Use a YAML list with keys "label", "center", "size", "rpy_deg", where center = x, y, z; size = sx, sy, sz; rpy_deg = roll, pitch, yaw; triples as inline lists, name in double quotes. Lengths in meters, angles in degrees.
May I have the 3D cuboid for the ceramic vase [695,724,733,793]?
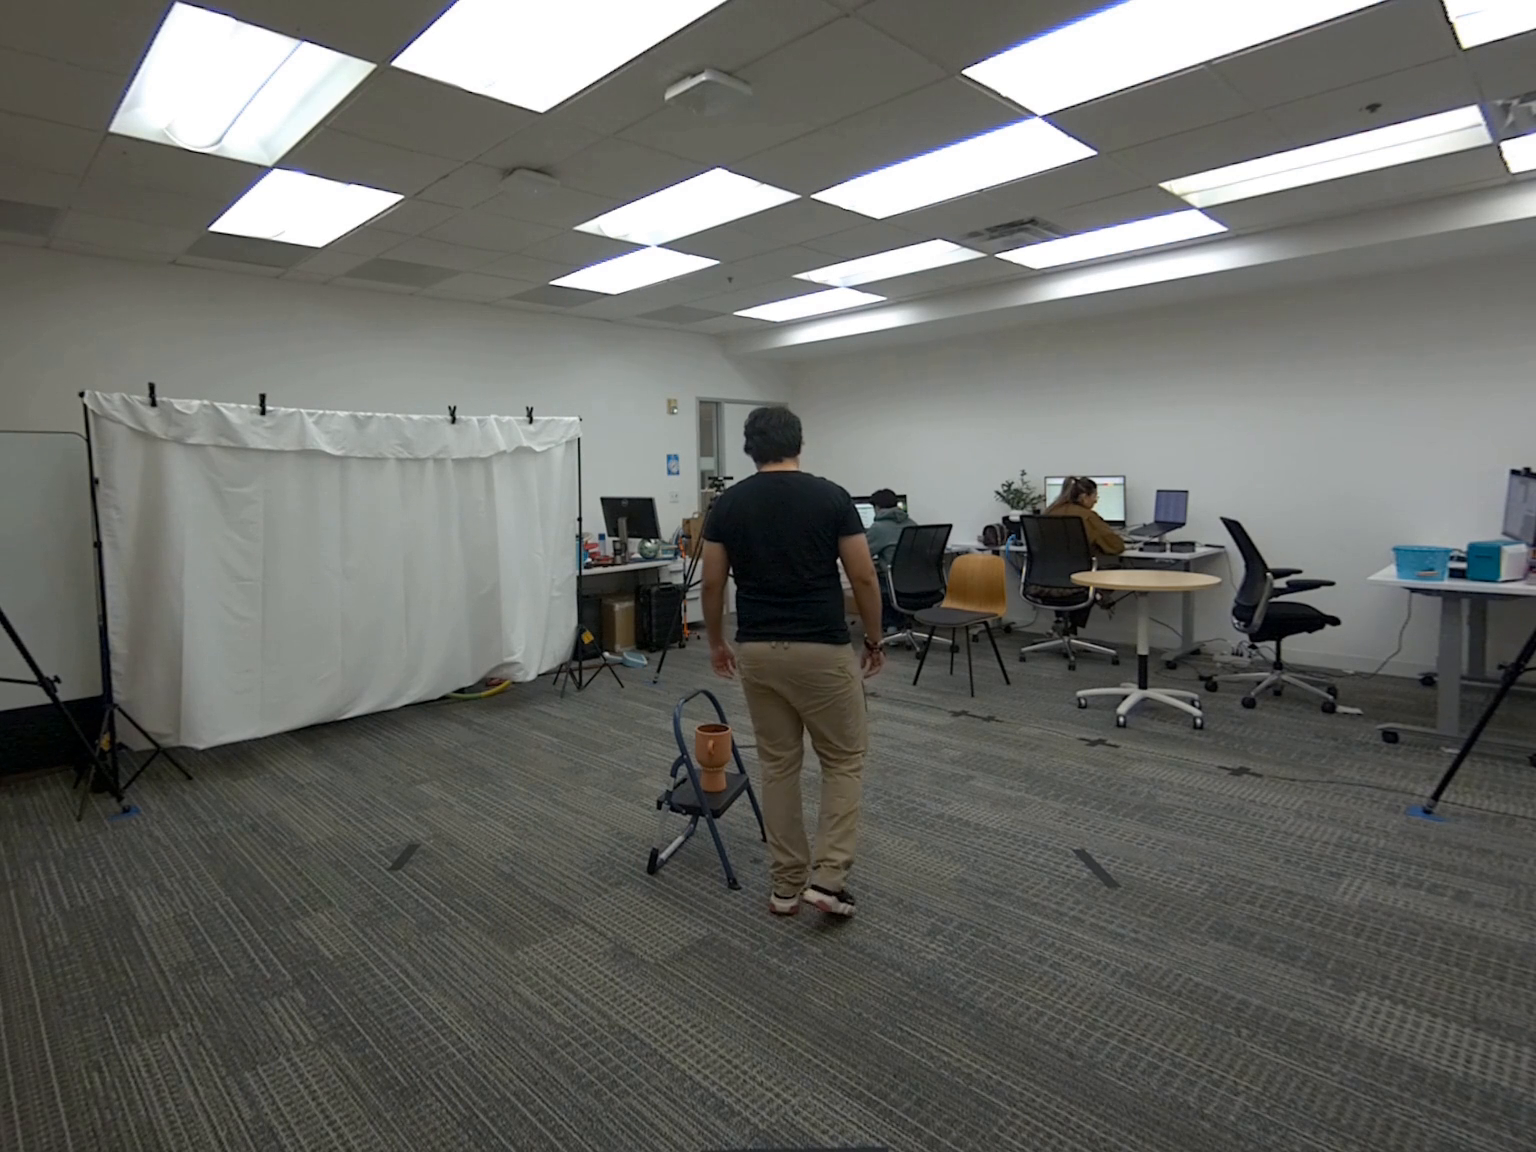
- label: "ceramic vase"
  center: [-0.194, 0.667, 3.121]
  size: [0.139, 0.219, 0.154]
  rpy_deg: [5, 7, 43]
